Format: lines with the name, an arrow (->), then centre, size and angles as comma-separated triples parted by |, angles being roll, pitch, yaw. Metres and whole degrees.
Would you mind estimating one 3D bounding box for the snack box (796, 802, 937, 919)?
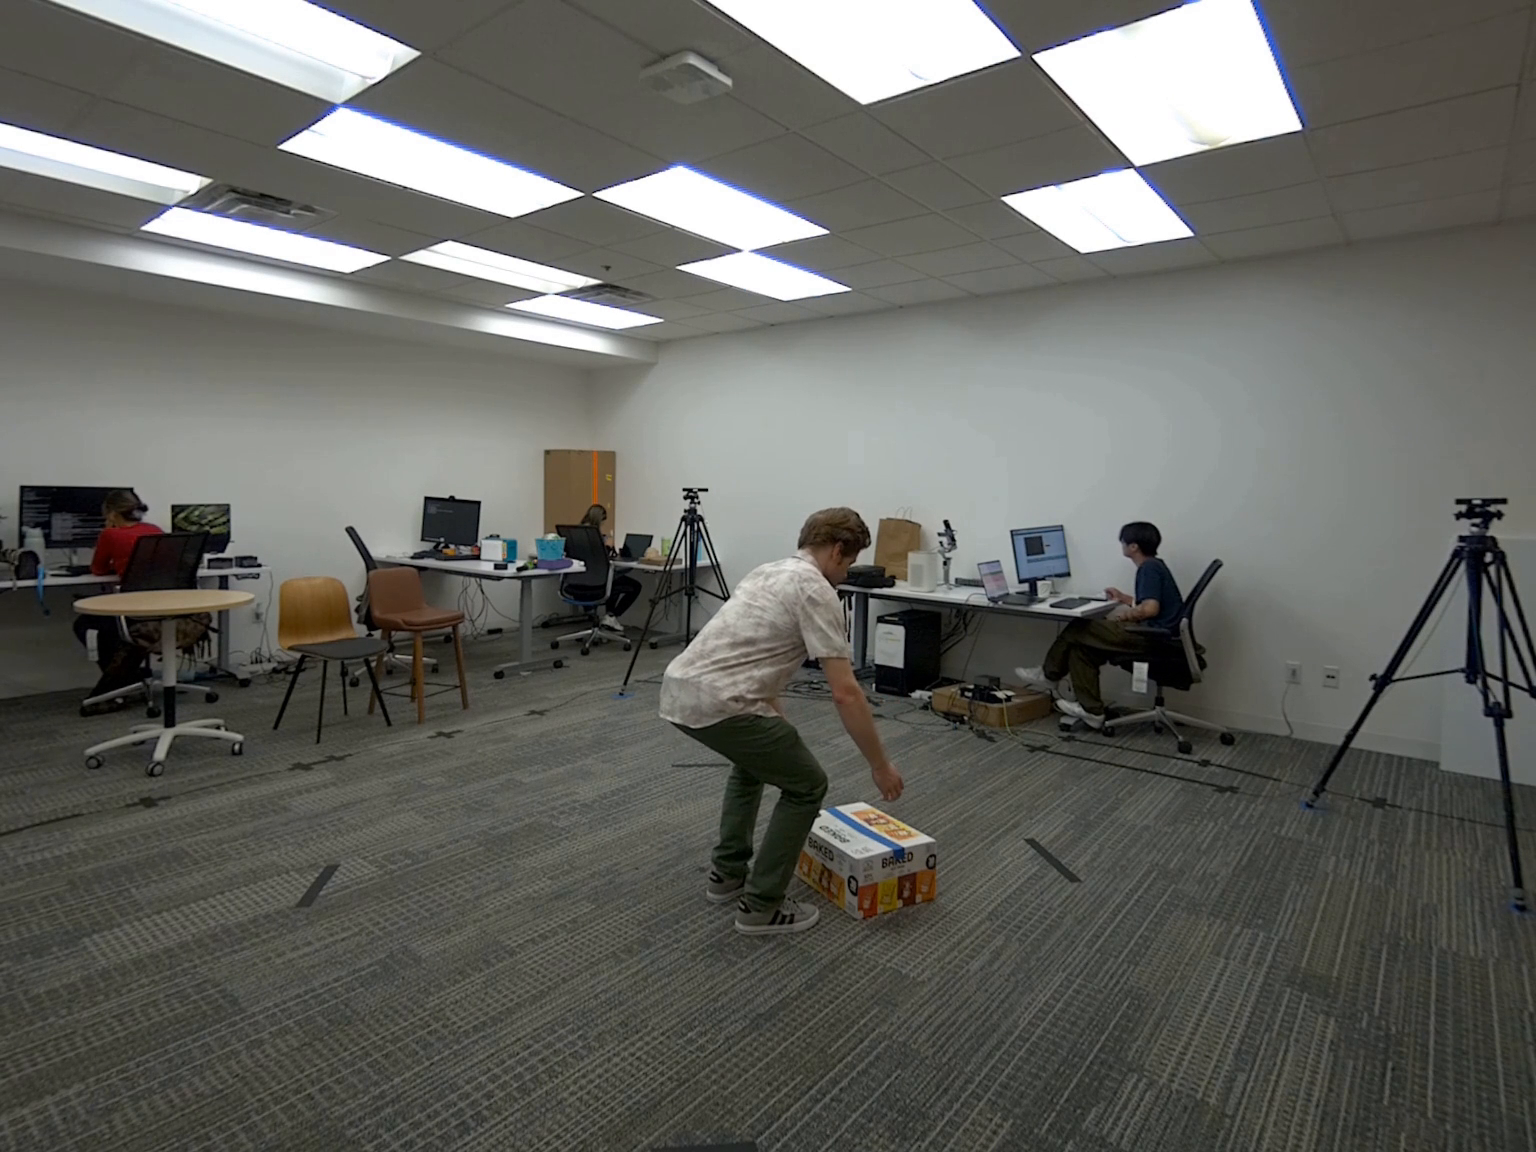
snack box -> 0.317, 0.988, 3.012 | 0.331, 0.205, 0.418 | -2, 6, -31
